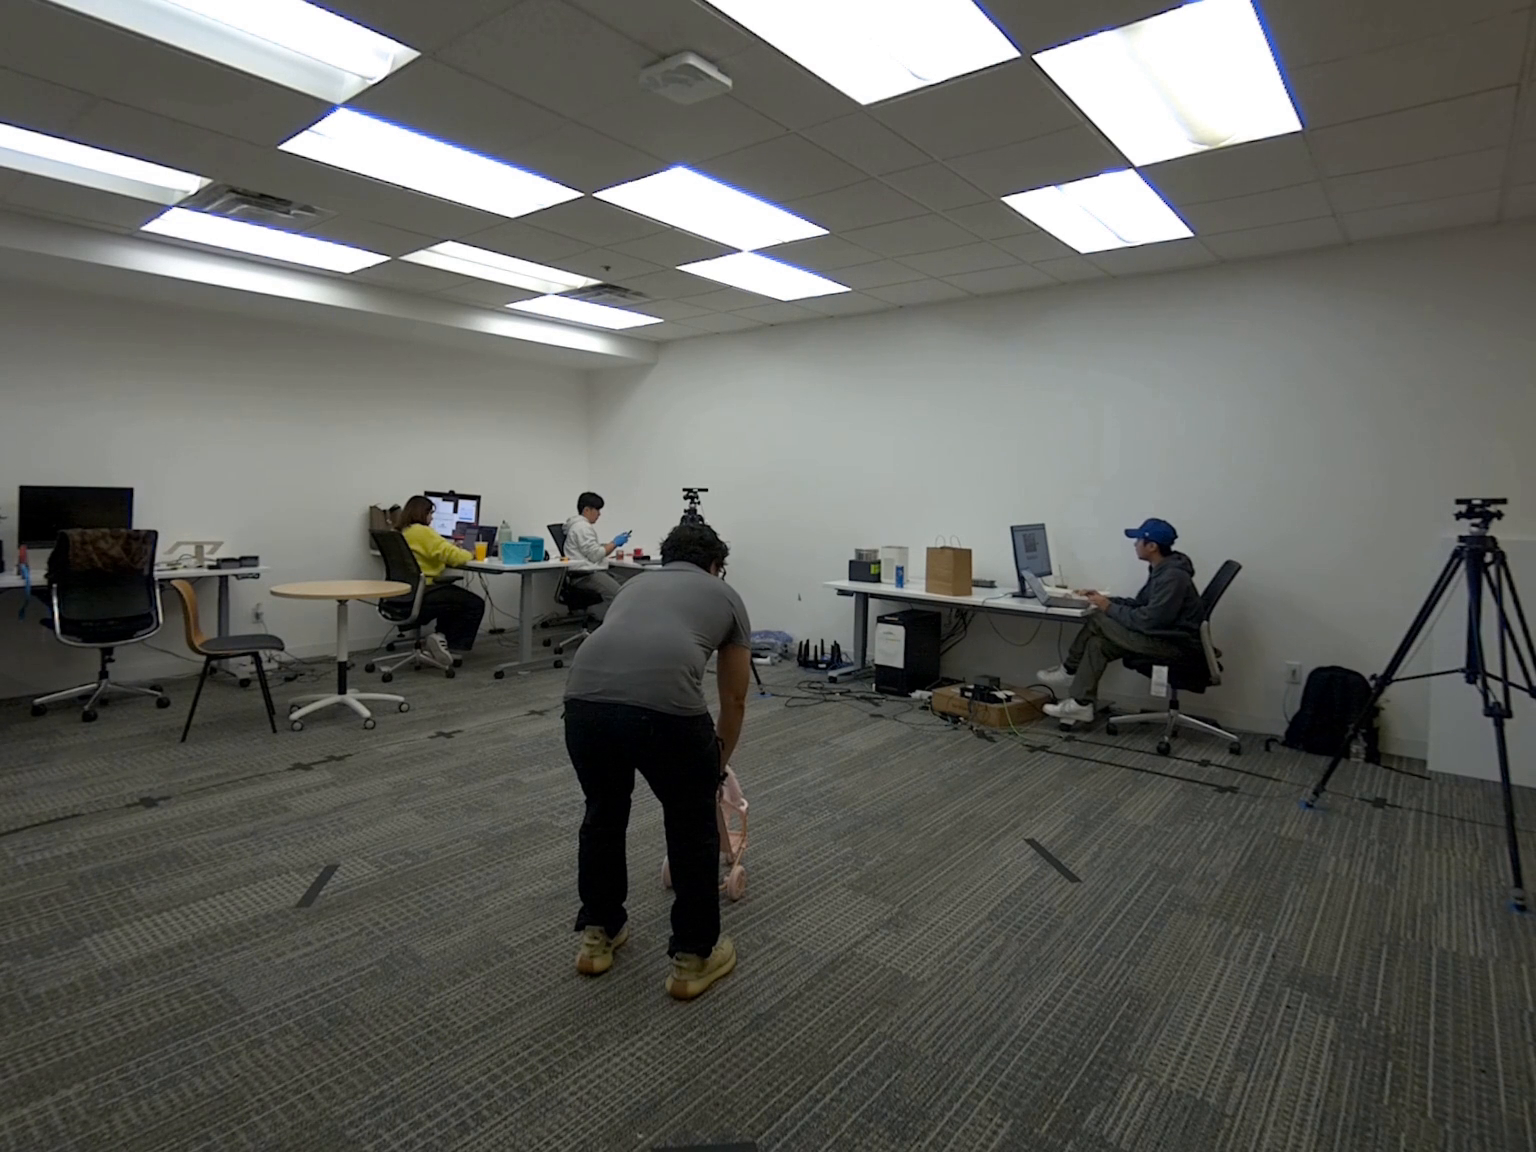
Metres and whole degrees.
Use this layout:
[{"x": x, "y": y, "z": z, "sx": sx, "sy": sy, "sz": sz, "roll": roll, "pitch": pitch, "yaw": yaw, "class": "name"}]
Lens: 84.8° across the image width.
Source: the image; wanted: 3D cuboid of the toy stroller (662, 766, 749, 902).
[{"x": -0.203, "y": 0.859, "z": 2.981, "sx": 0.289, "sy": 0.525, "sz": 0.339, "roll": 3, "pitch": 21, "yaw": 24, "class": "toy stroller"}]
